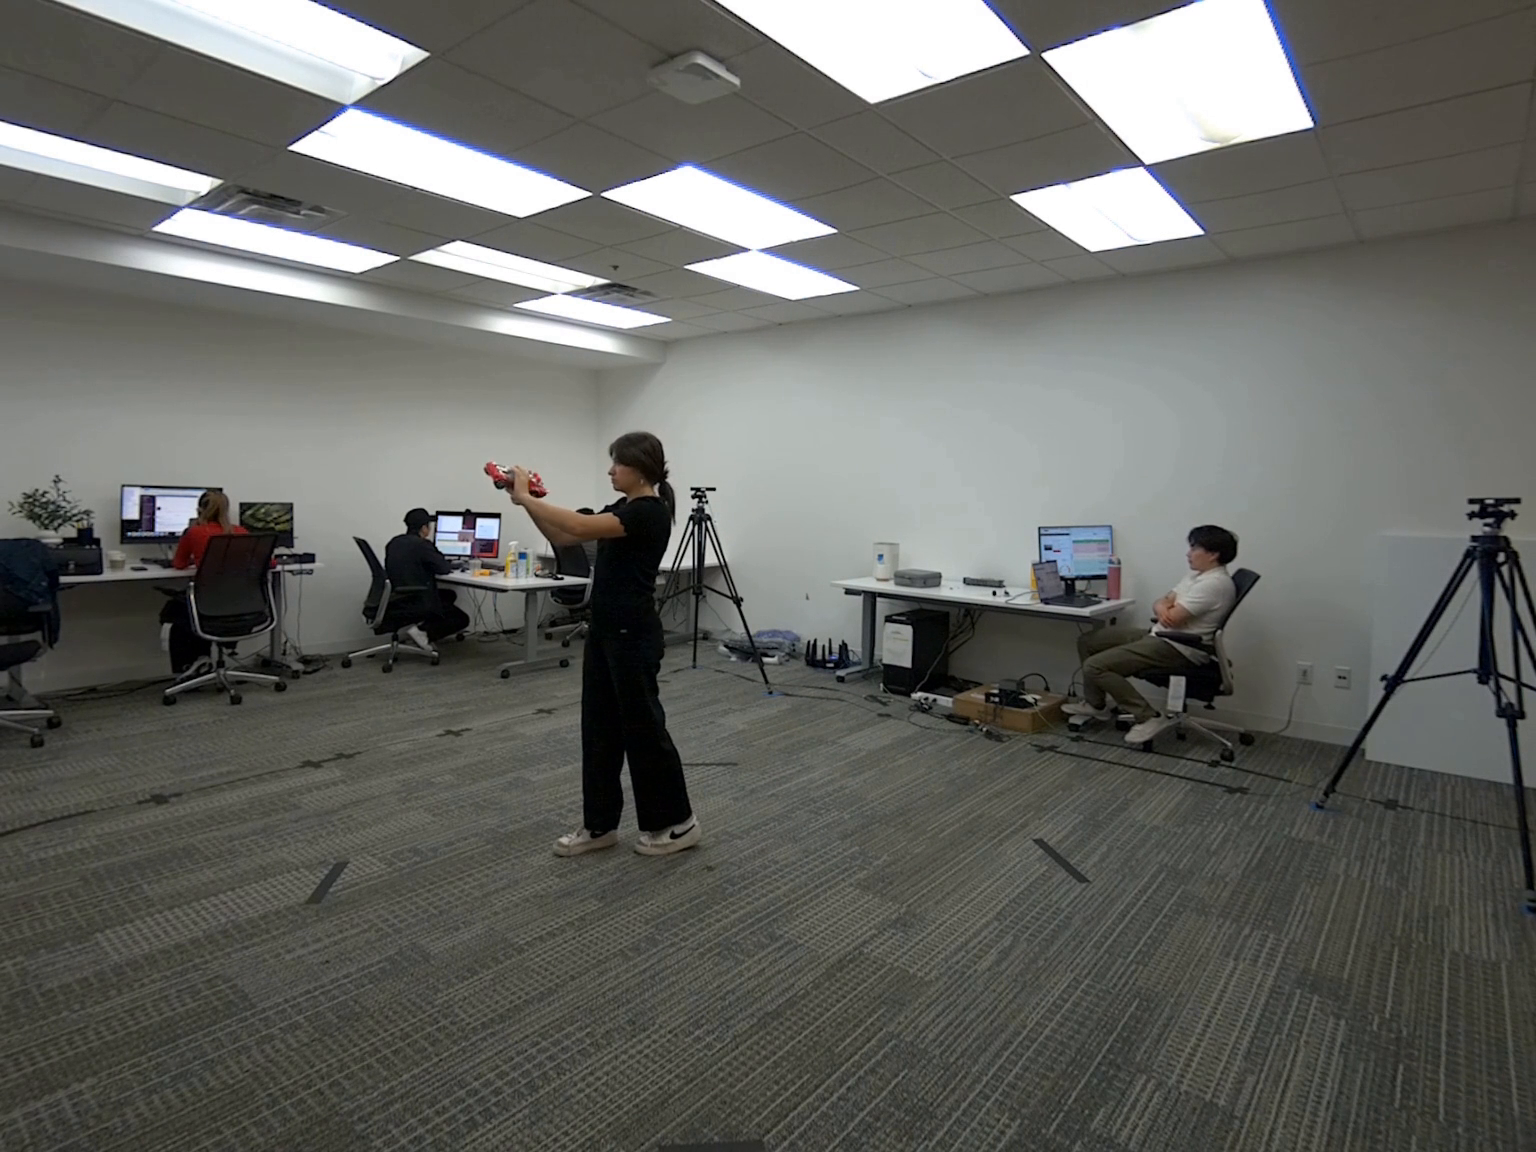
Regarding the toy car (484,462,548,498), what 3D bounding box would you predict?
[{"bbox_3d":[-0.925,-0.344,3.076,0.245,0.083,0.136,7,31,-48],"label":"toy car"}]
